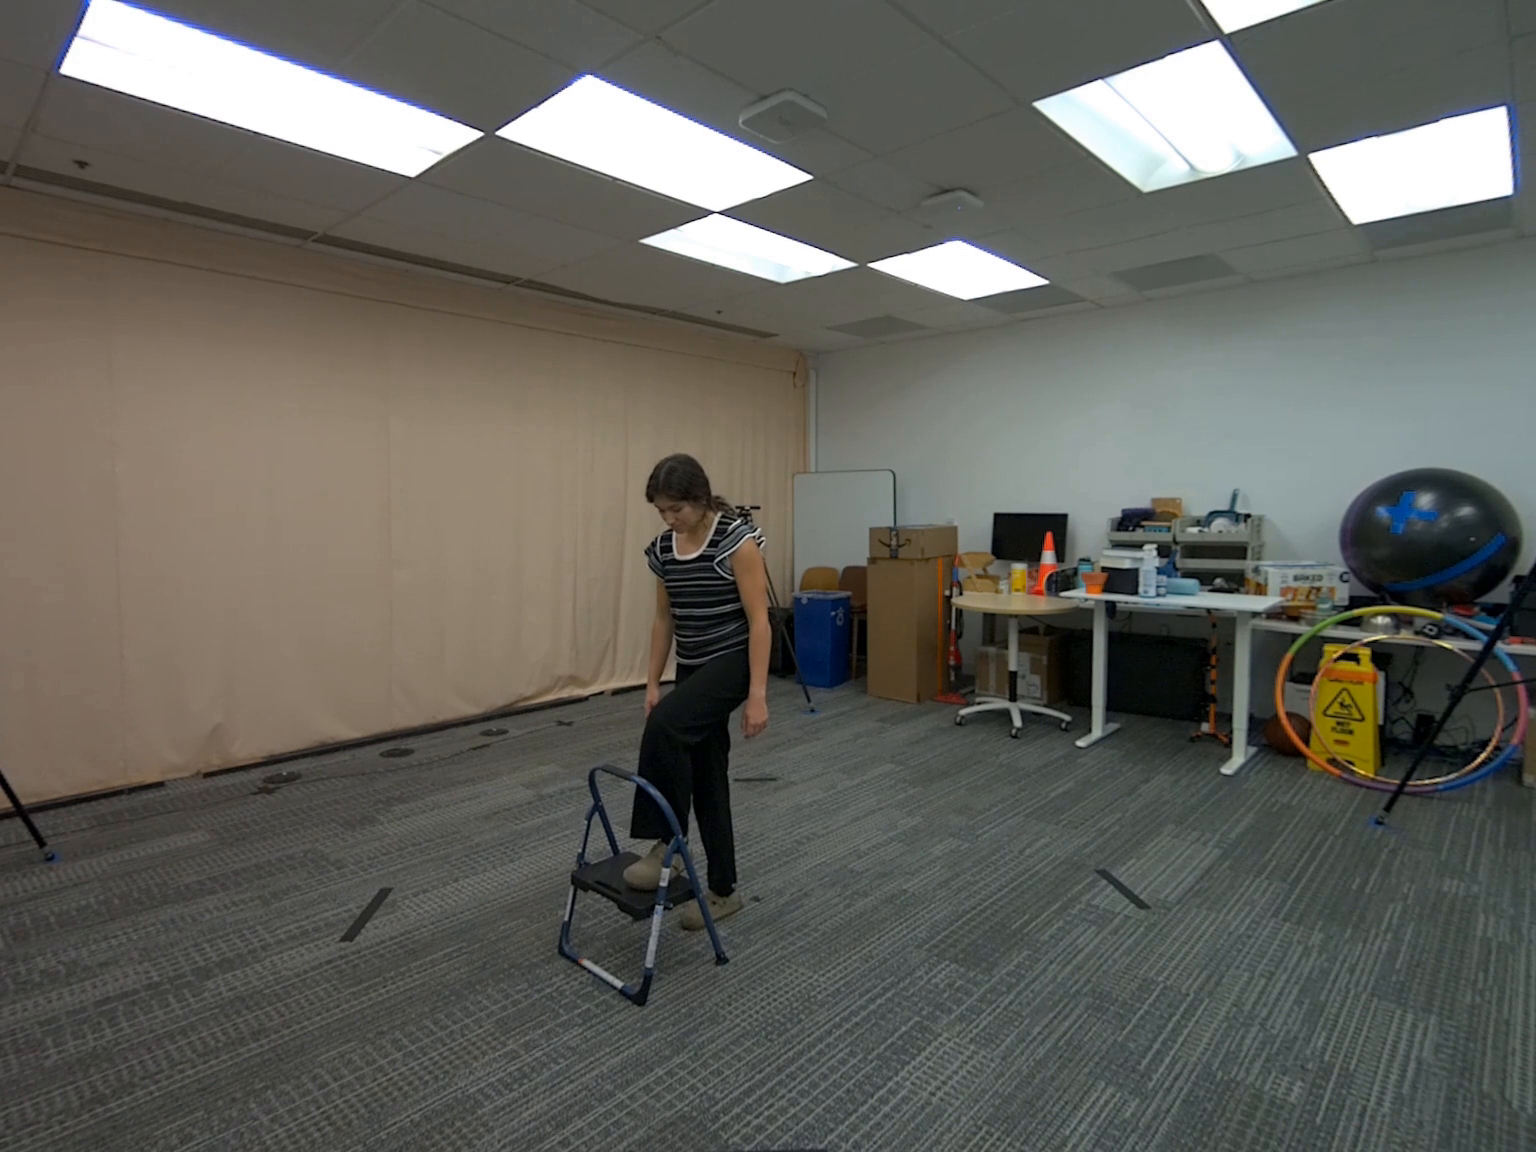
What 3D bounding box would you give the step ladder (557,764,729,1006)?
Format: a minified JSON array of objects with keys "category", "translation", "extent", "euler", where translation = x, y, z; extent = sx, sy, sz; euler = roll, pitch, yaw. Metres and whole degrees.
[{"category":"step ladder","translation":[-0.394,0.879,2.586],"extent":[0.445,0.605,0.338],"euler":[3,4,43]}]
